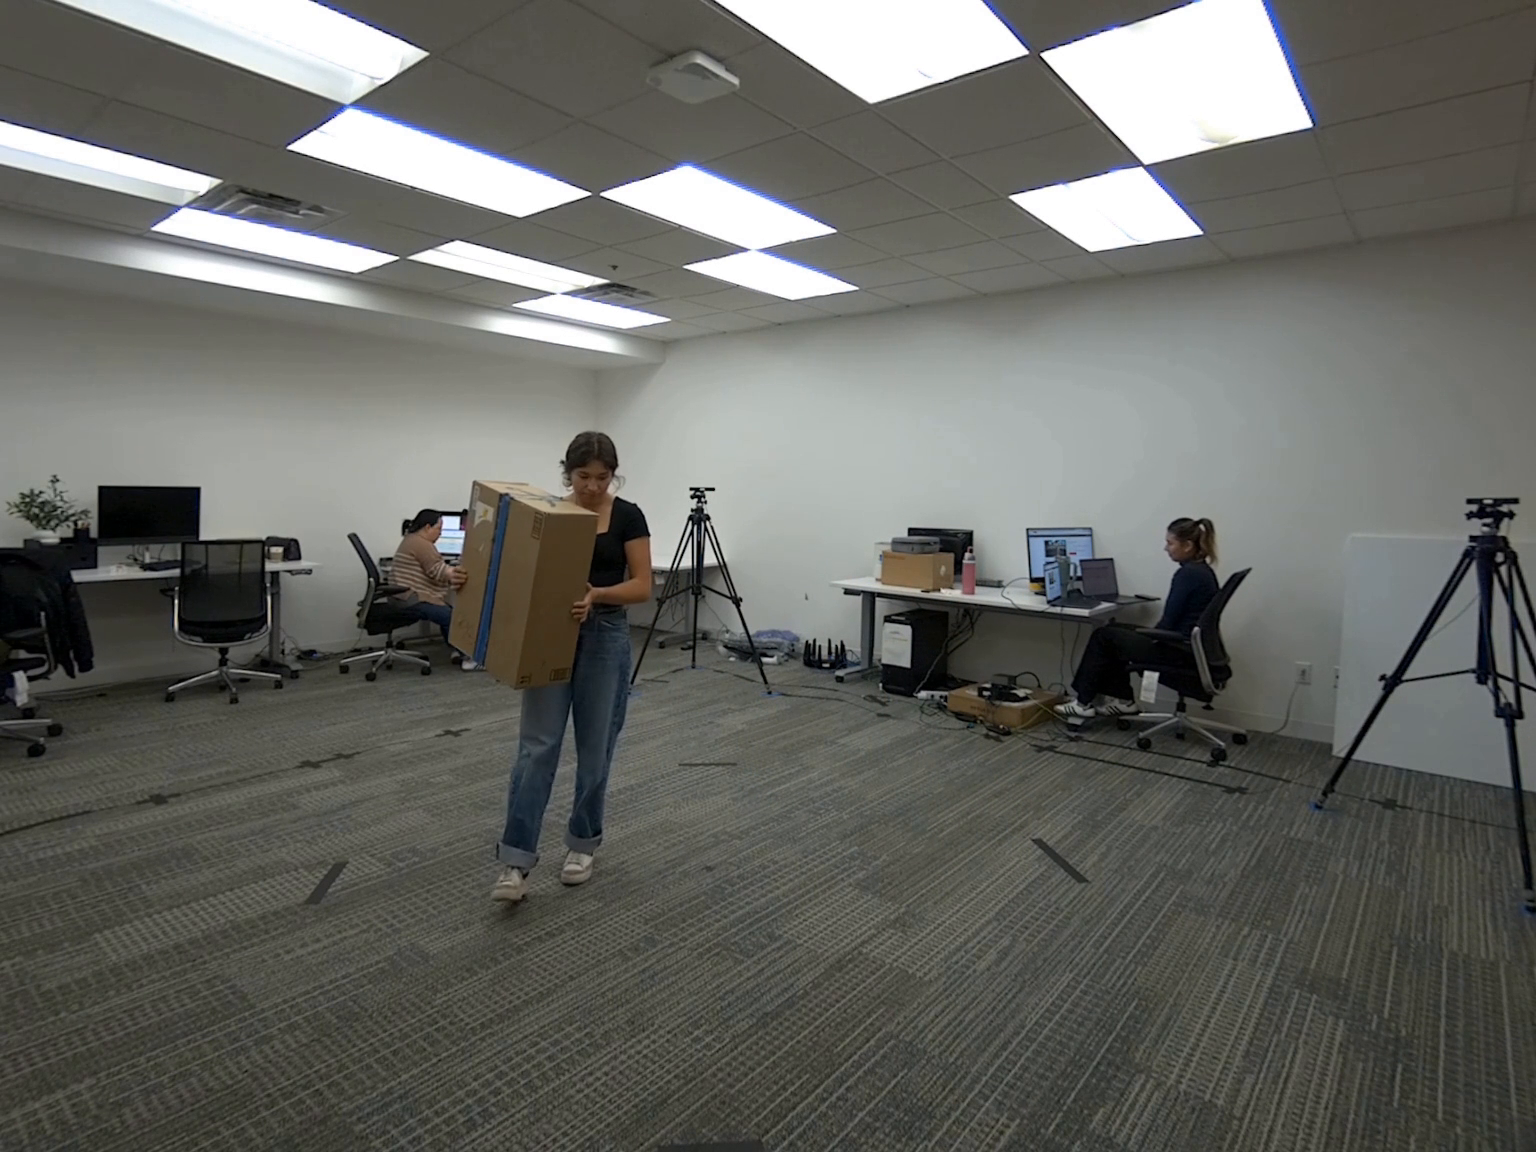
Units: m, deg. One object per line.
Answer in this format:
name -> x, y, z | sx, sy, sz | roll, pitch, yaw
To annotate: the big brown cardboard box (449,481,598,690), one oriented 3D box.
big brown cardboard box -> -0.821, 0.012, 2.776 | 0.434, 0.584, 0.226 | 20, 13, 38
